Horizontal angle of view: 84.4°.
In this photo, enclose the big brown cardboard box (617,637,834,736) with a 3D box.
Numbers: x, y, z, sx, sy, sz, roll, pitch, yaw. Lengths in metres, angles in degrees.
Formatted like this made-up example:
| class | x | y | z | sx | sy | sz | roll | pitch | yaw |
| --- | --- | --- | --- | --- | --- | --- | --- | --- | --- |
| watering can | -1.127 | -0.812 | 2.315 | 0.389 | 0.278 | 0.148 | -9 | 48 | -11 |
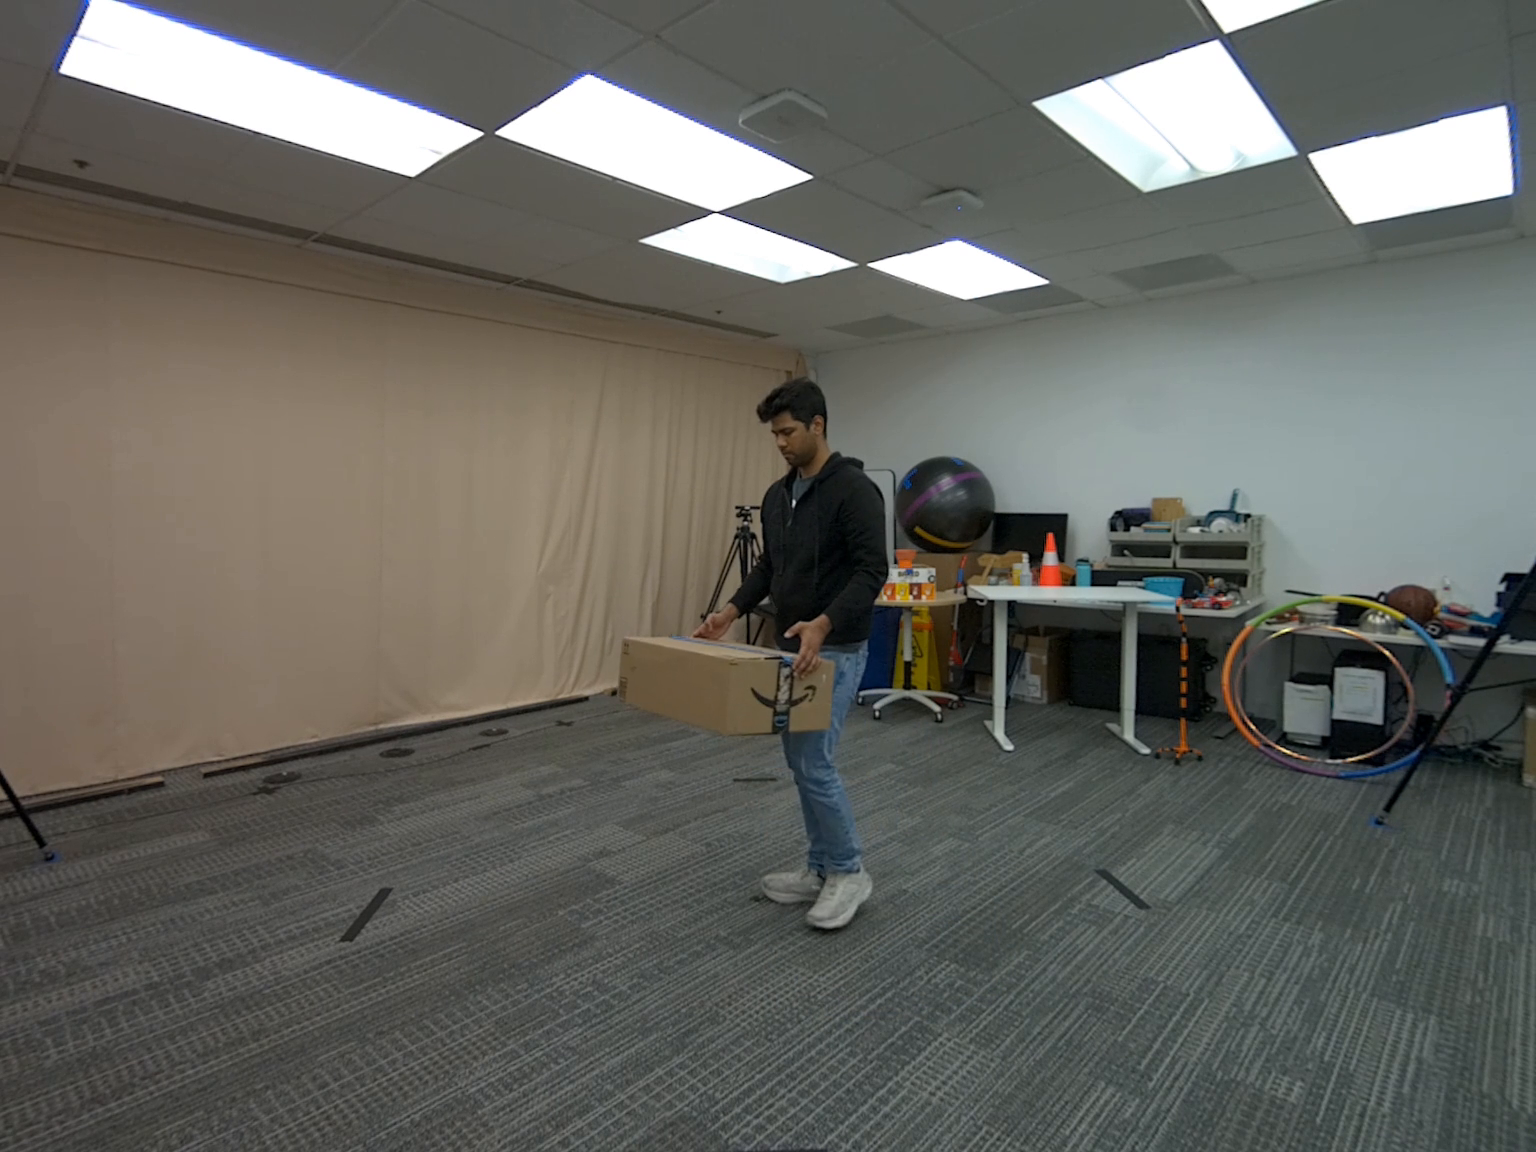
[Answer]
| class | x | y | z | sx | sy | sz | roll | pitch | yaw |
| --- | --- | --- | --- | --- | --- | --- | --- | --- | --- |
| big brown cardboard box | -0.137 | 0.341 | 2.676 | 0.404 | 0.233 | 0.608 | 5 | -1 | -41 |
